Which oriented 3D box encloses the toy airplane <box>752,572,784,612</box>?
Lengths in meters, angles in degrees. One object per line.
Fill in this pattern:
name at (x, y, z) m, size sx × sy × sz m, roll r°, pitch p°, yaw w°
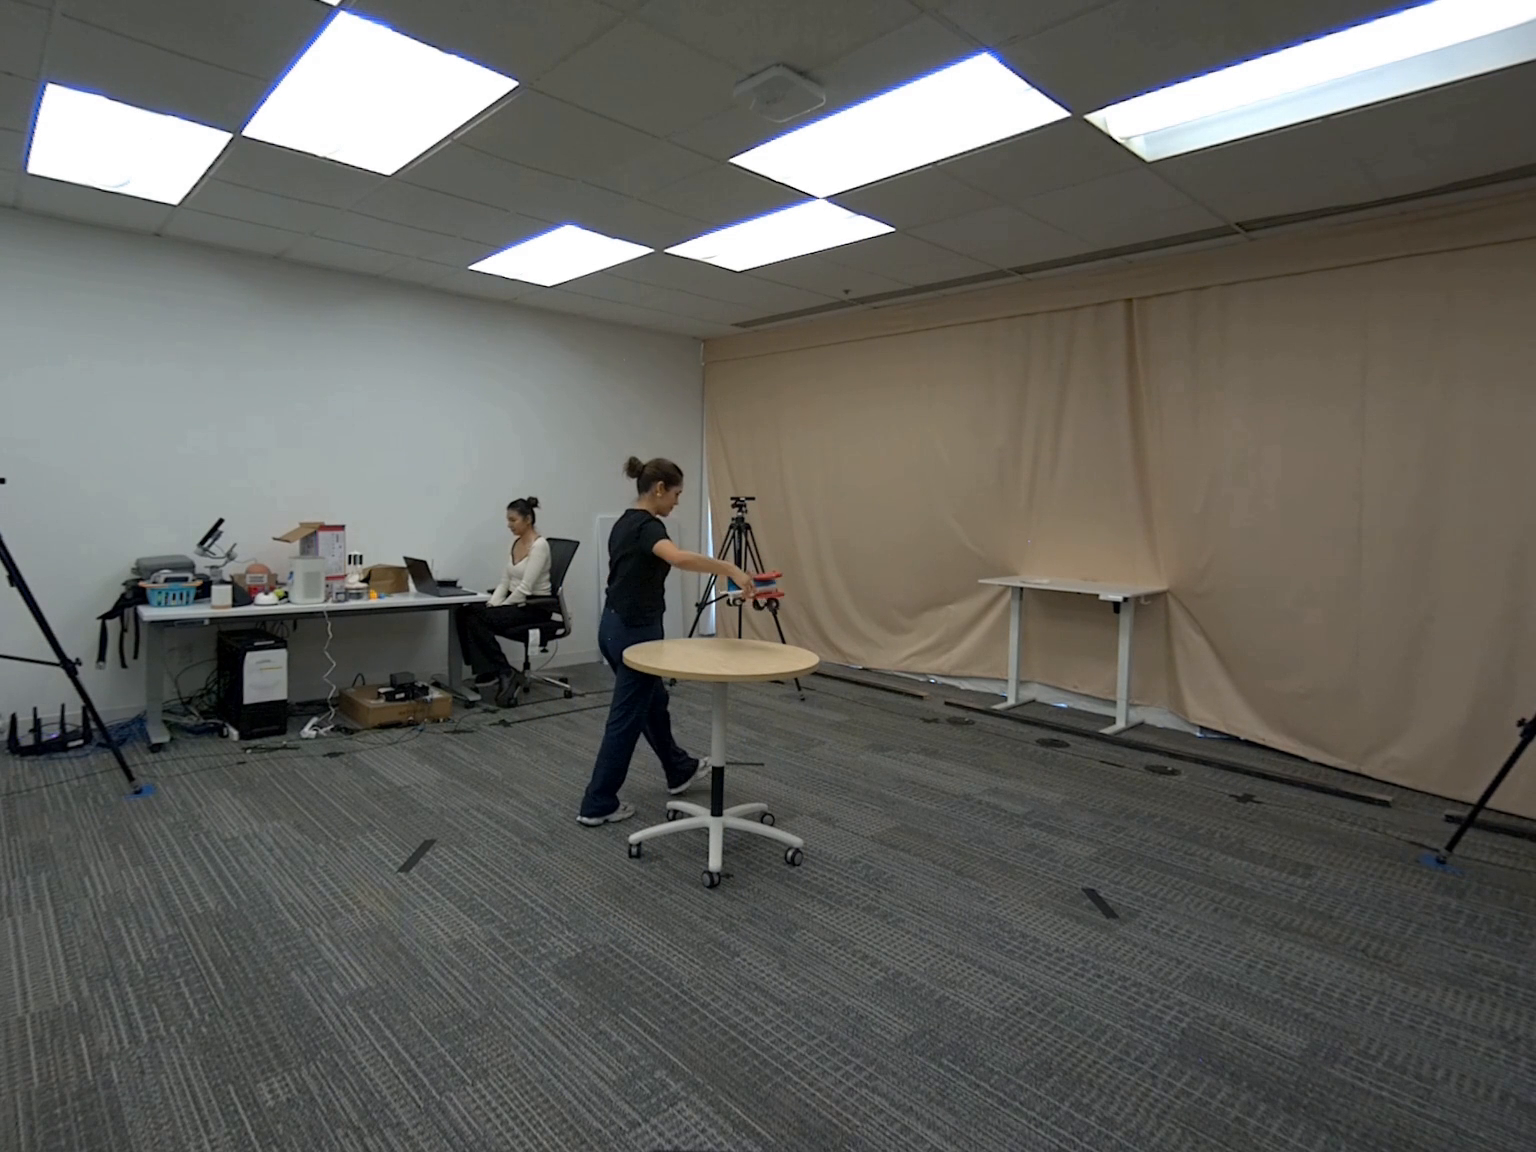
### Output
toy airplane at (-0.055, 0.049, 3.443) m, size 0.255 × 0.157 × 0.253 m, roll 2°, pitch -9°, yaw 20°
